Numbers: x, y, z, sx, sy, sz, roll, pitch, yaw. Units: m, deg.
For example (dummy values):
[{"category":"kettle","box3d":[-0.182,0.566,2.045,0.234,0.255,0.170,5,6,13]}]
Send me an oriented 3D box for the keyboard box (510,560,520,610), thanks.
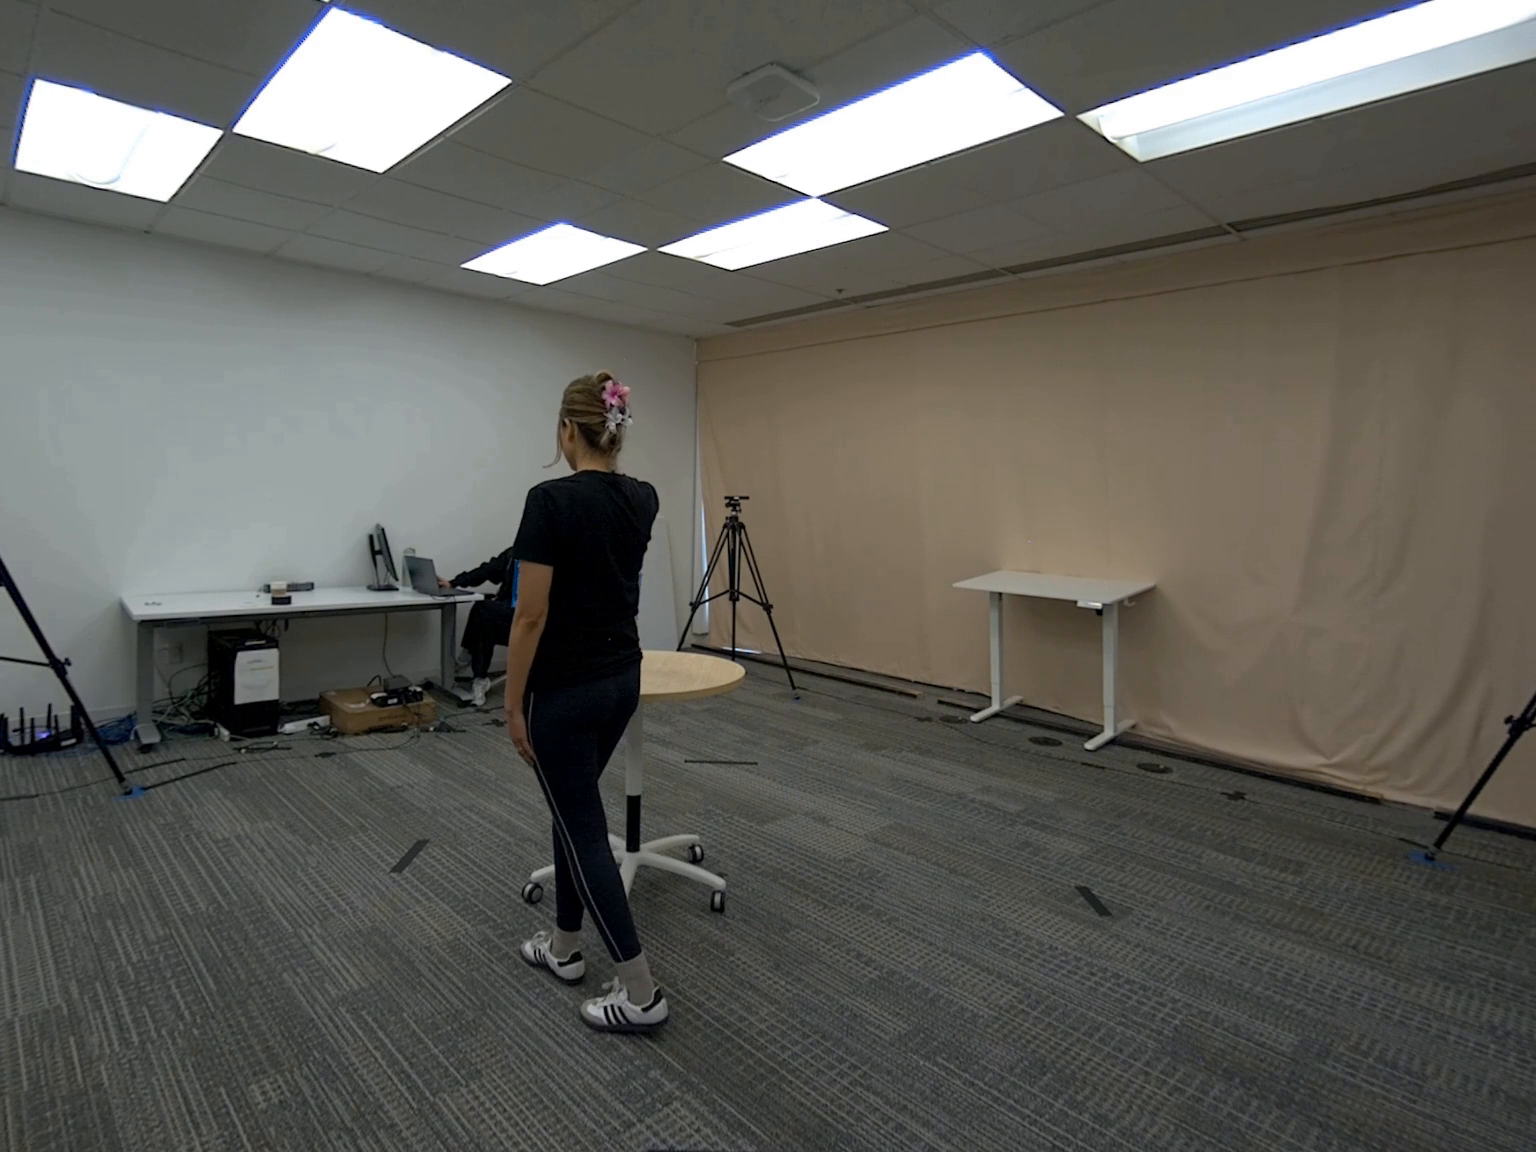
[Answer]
[{"category":"keyboard box","box3d":[-0.672,0.051,2.921,0.438,0.175,0.059,7,5,3]}]
